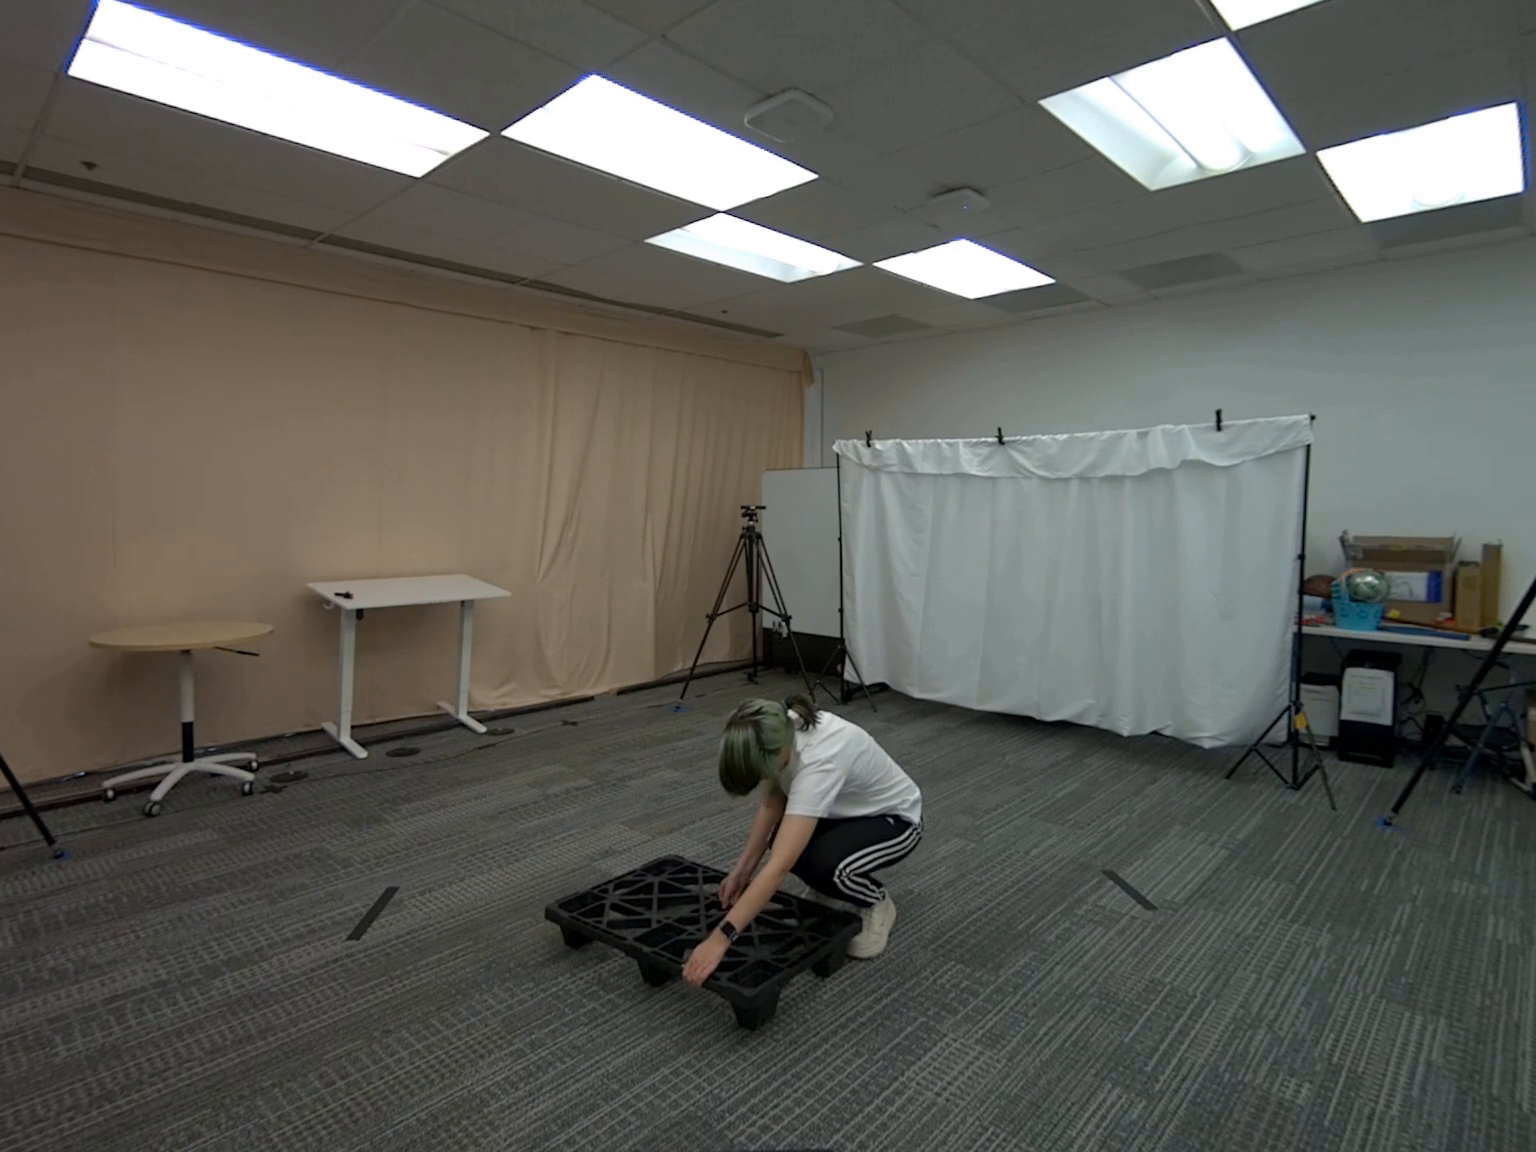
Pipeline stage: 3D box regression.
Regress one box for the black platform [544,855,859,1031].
[{"bbox_3d":[-0.203,1.104,2.590,0.832,0.143,0.586,3,2,37],"label":"black platform"}]
